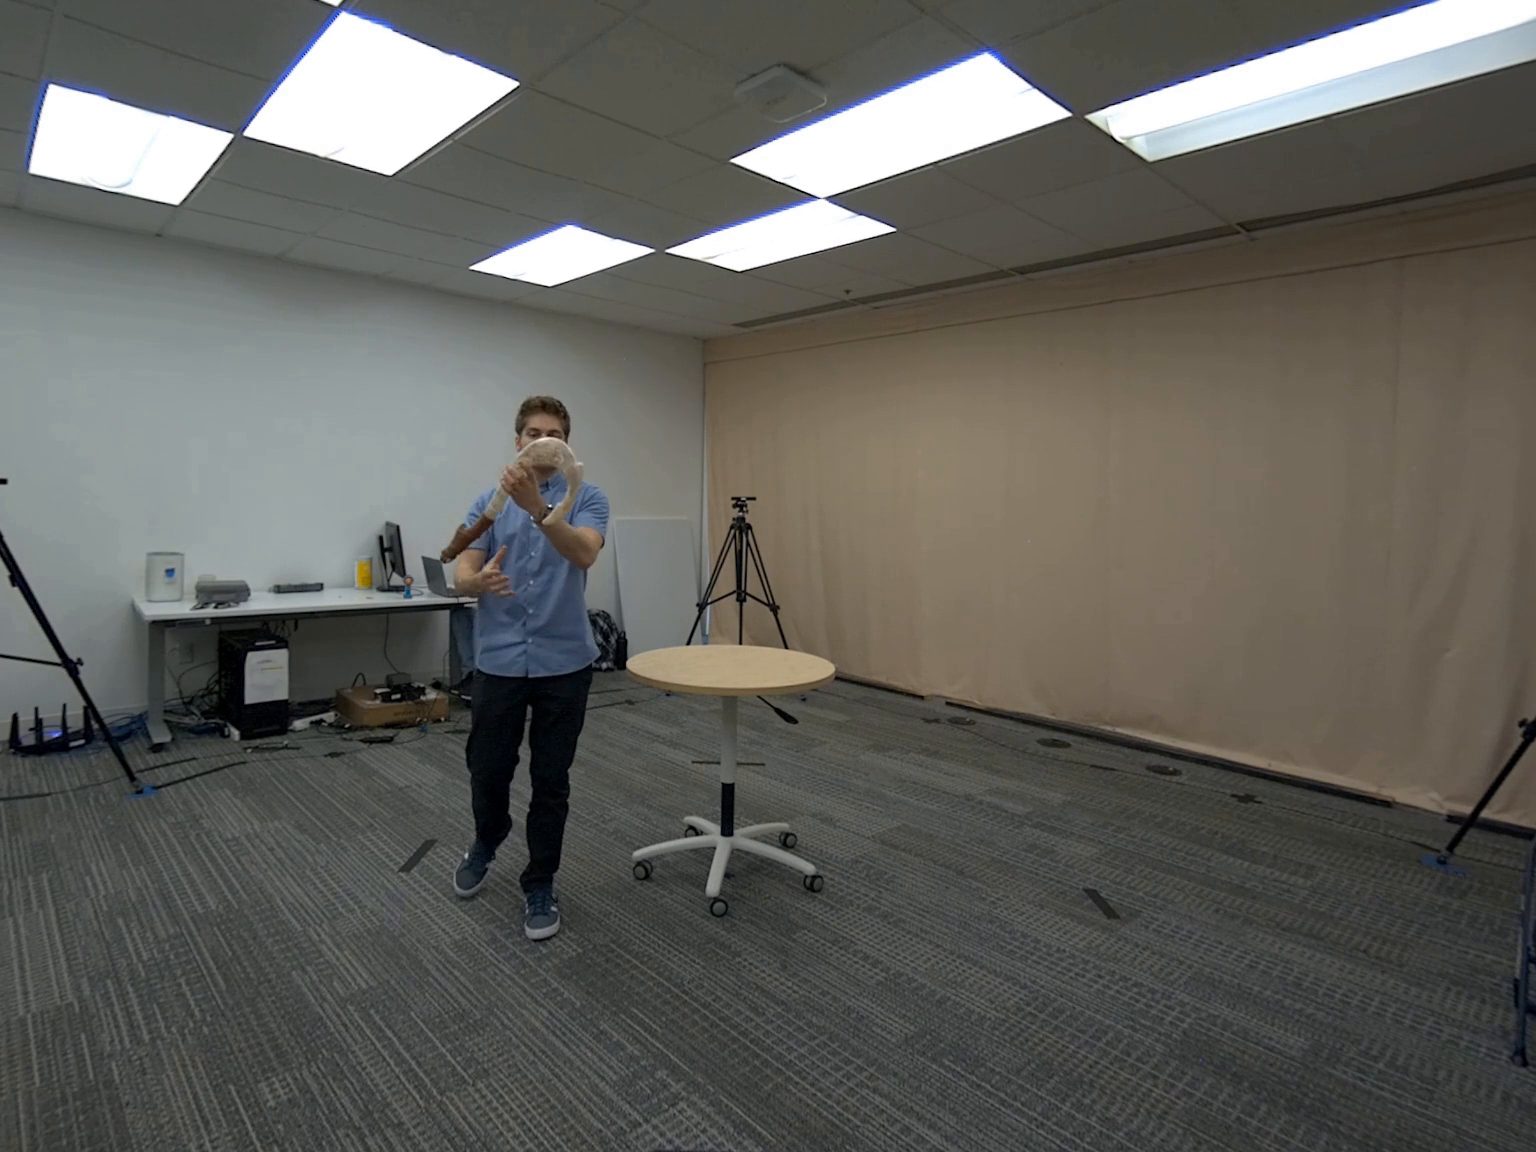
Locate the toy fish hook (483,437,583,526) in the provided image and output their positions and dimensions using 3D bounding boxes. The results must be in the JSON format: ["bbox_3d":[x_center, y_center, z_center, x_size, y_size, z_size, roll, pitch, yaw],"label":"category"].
[{"bbox_3d":[-0.736,-0.170,2.343,0.507,0.228,0.047,-43,-15,12],"label":"toy fish hook"}]
